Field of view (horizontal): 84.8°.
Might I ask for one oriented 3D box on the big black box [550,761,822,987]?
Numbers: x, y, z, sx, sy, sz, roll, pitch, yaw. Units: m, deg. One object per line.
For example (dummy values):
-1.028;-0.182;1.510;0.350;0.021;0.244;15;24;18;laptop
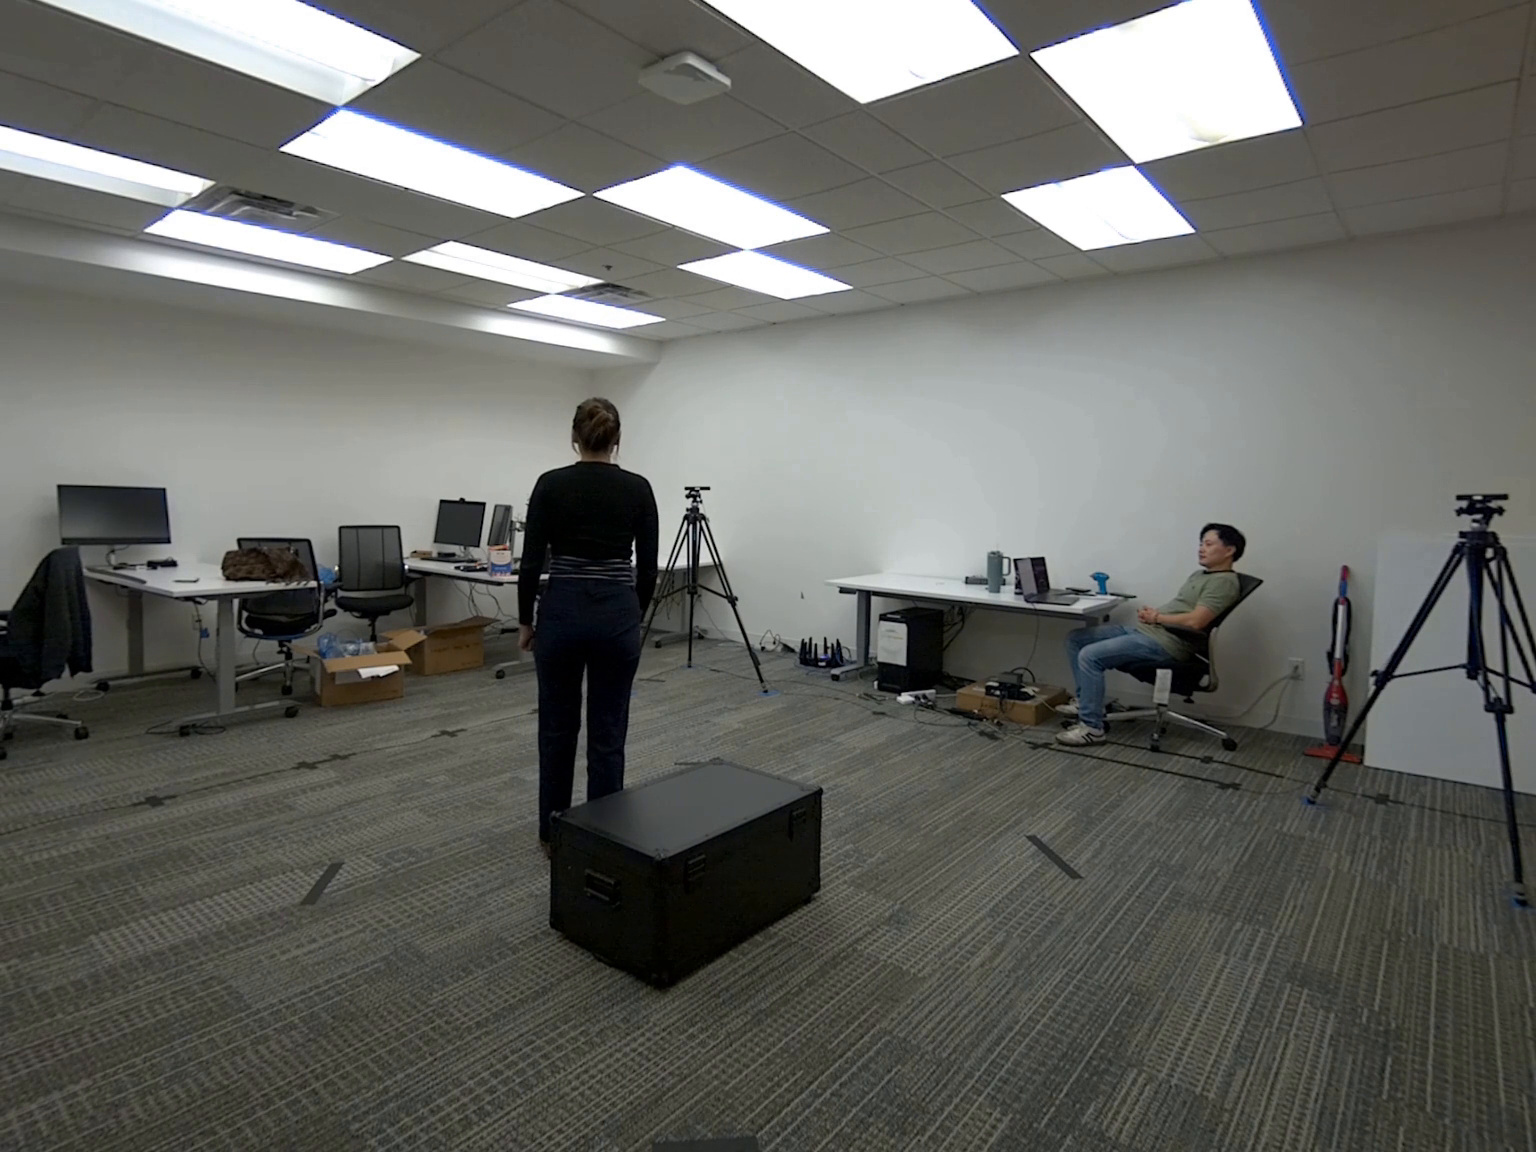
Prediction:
-0.270;0.910;2.737;0.538;0.395;0.836;4;5;39;big black box
